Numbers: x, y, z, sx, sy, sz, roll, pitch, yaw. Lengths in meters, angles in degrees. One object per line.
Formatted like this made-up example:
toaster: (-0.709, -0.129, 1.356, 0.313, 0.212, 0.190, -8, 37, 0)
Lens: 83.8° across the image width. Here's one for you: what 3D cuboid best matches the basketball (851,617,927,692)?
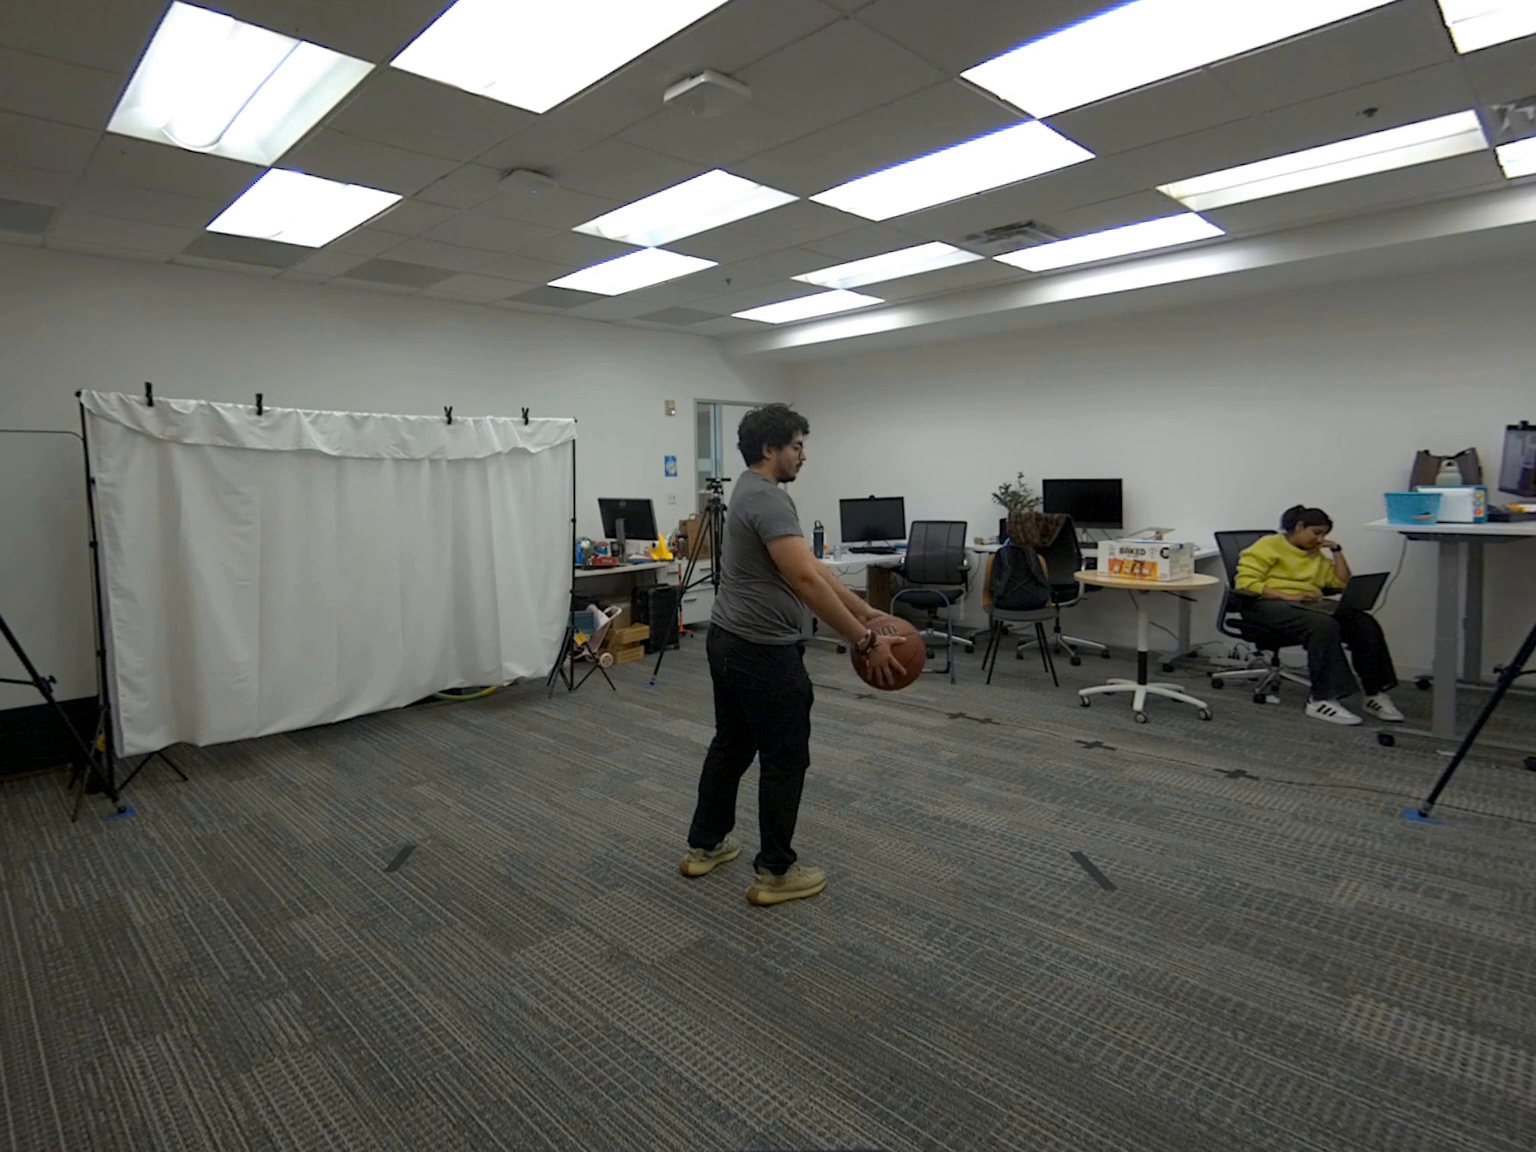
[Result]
basketball: (0.382, 0.246, 2.752, 0.236, 0.235, 0.237, -1, 5, -2)
